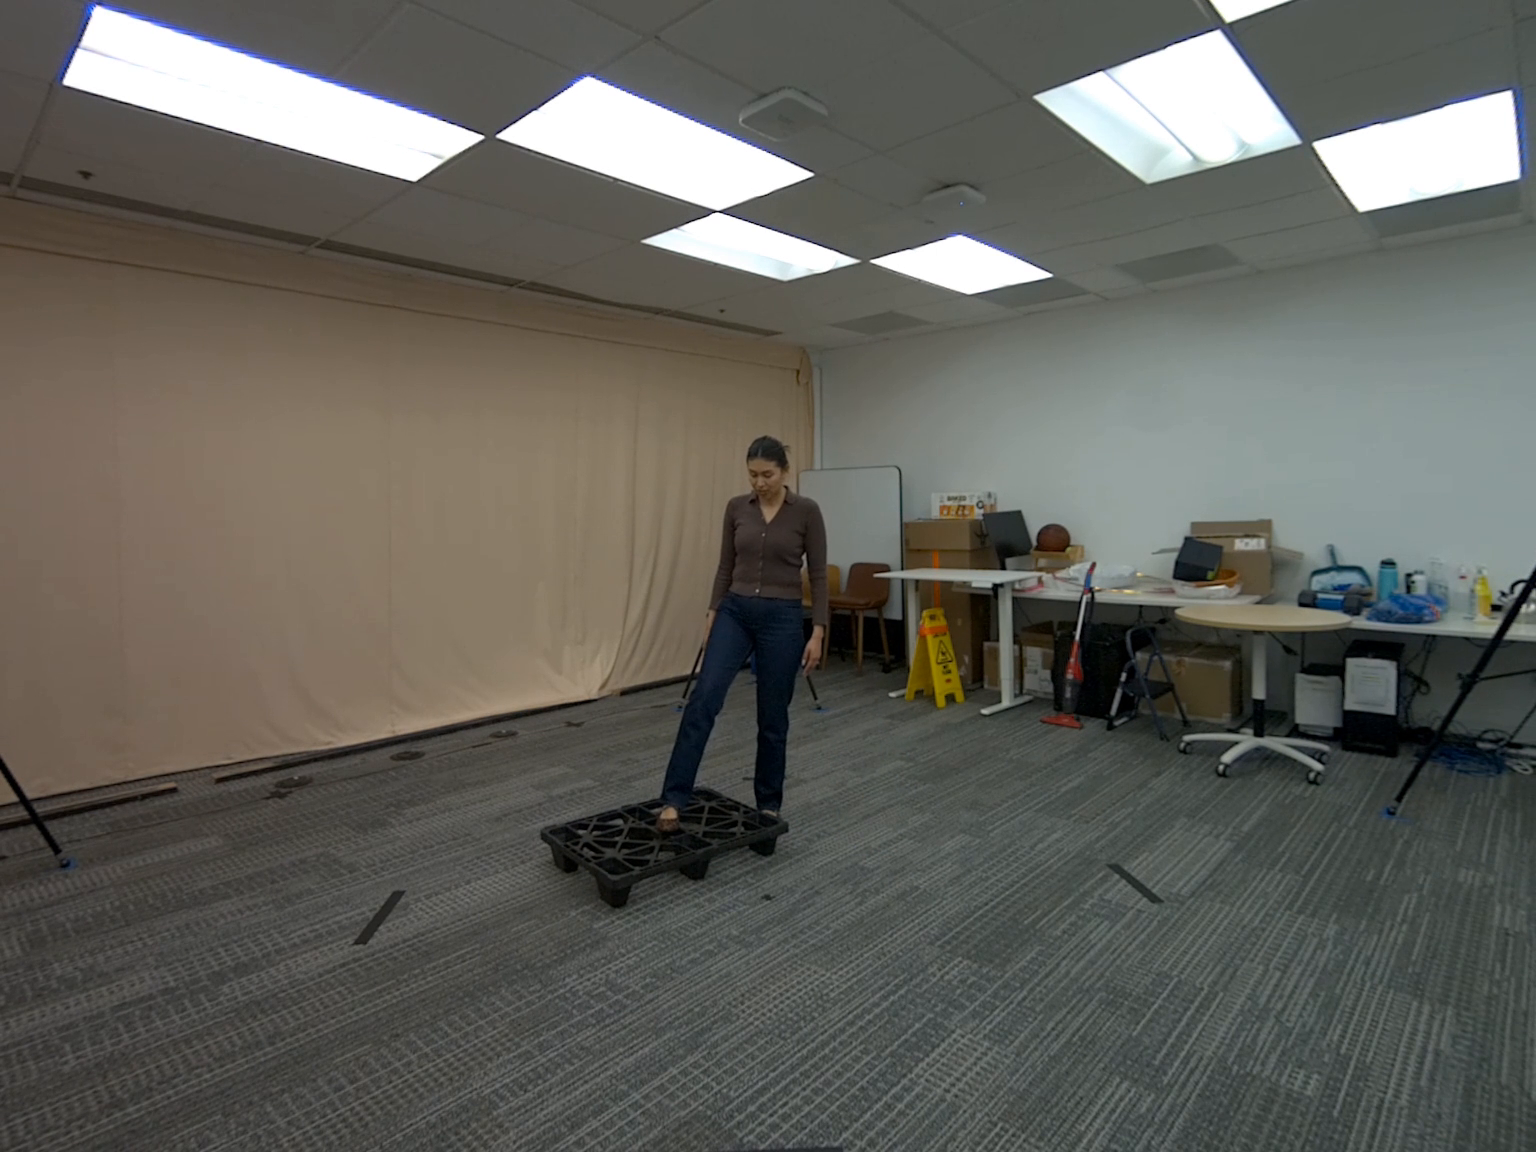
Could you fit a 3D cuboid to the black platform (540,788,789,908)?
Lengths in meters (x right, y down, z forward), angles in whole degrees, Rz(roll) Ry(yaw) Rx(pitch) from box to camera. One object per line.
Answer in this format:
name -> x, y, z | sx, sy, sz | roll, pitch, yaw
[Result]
black platform -> -0.401, 1.053, 3.323 | 0.782, 0.143, 0.625 | -5, 7, -38
